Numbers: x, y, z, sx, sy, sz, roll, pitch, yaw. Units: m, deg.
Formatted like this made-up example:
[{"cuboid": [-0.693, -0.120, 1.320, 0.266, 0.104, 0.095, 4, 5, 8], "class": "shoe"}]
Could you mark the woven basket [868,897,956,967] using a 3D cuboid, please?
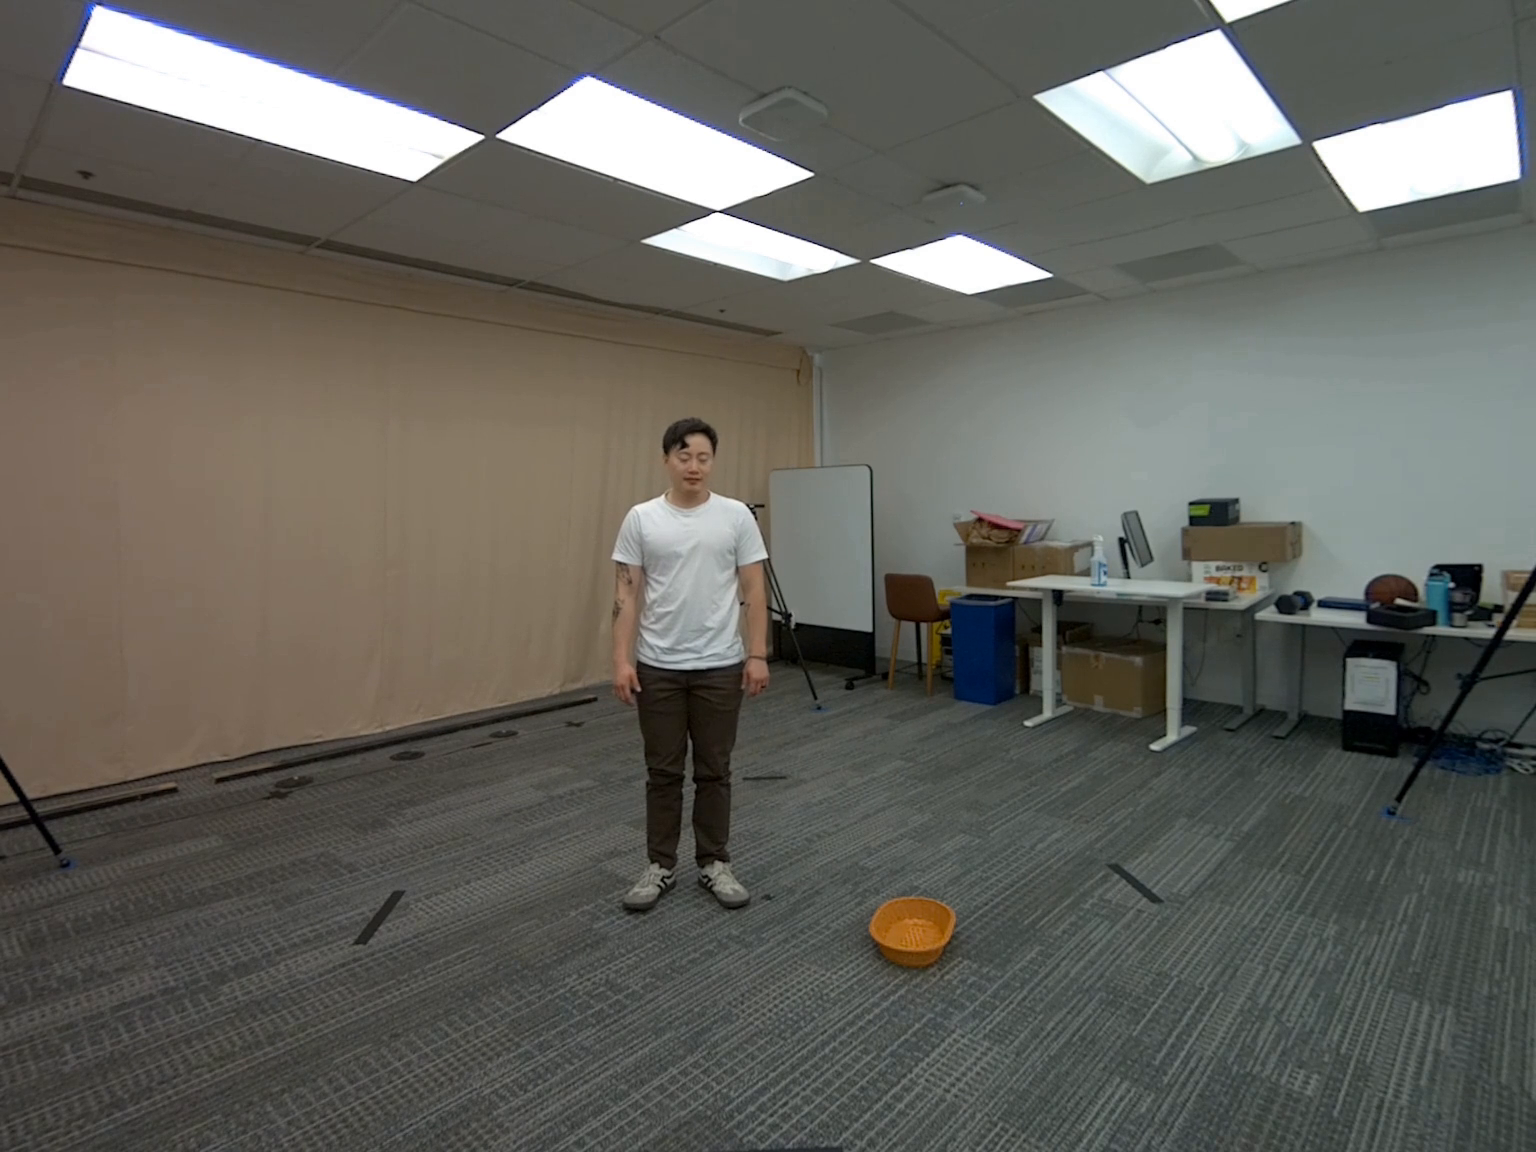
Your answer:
[{"cuboid": [0.458, 1.121, 2.653, 0.258, 0.073, 0.343, -1, 5, 23], "class": "woven basket"}]
